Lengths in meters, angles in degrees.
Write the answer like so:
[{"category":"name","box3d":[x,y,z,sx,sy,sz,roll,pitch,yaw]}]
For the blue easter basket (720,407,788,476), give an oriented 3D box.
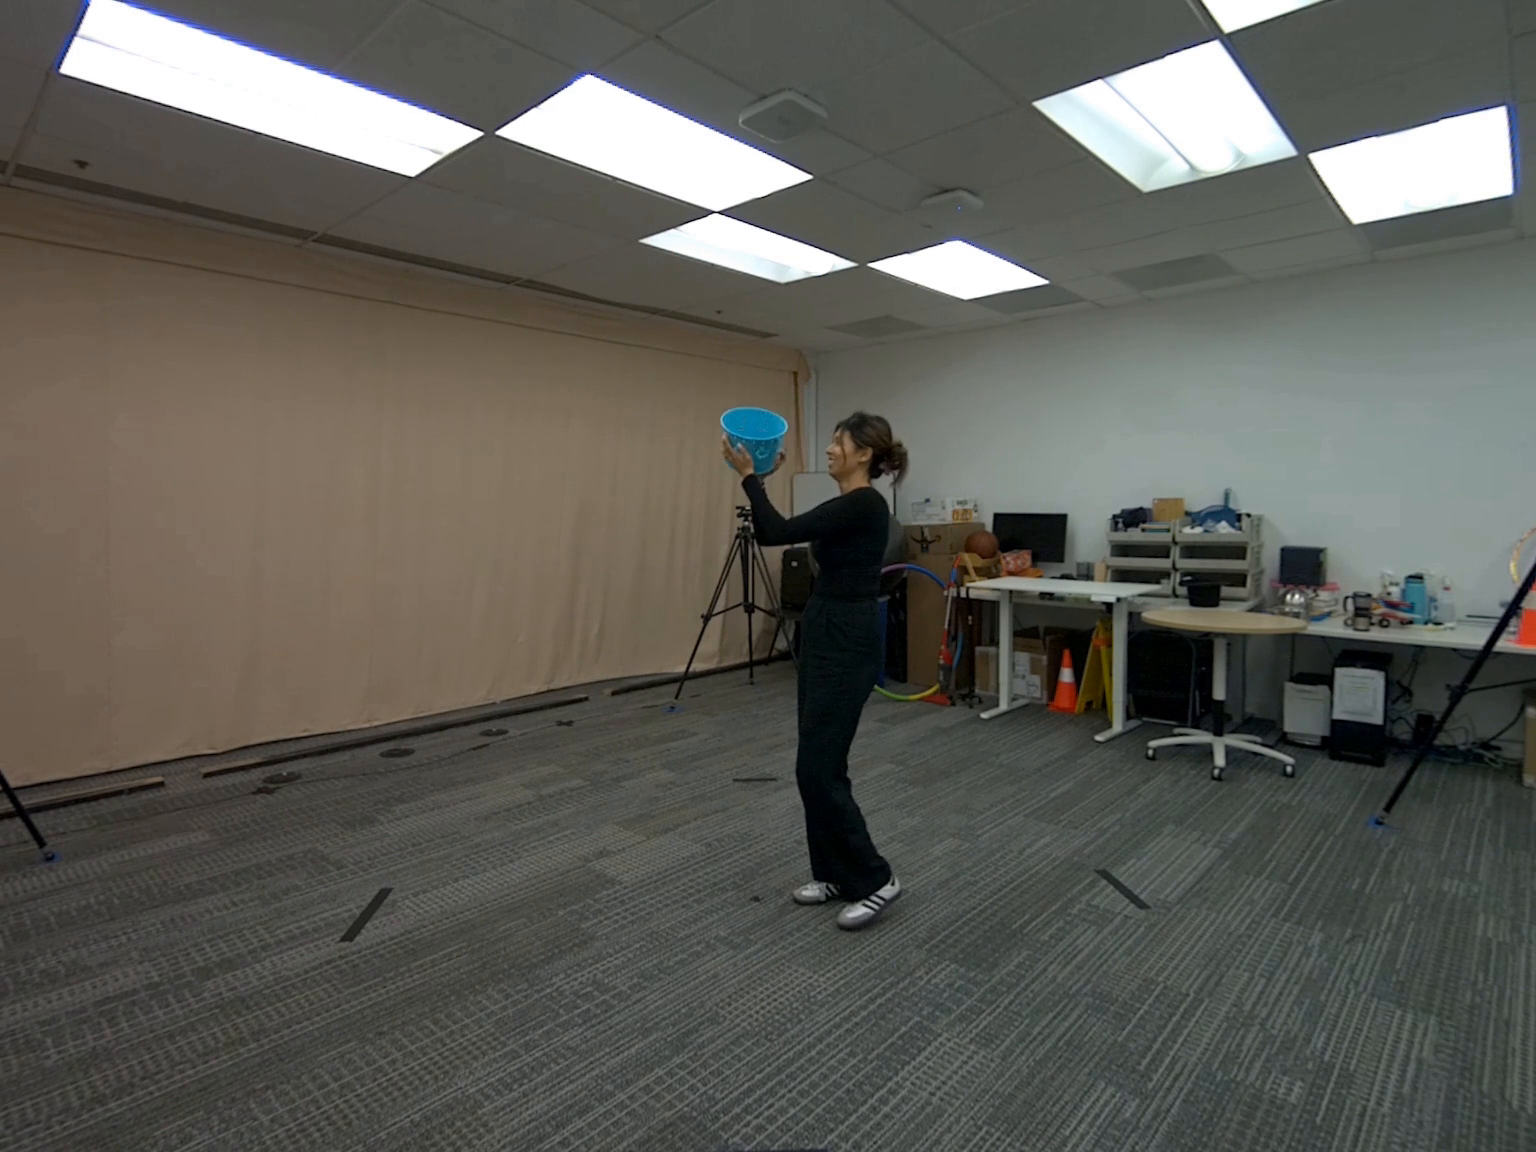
[{"category":"blue easter basket","box3d":[-0.044,-0.461,2.933,0.243,0.153,0.248,2,37,-4]}]
